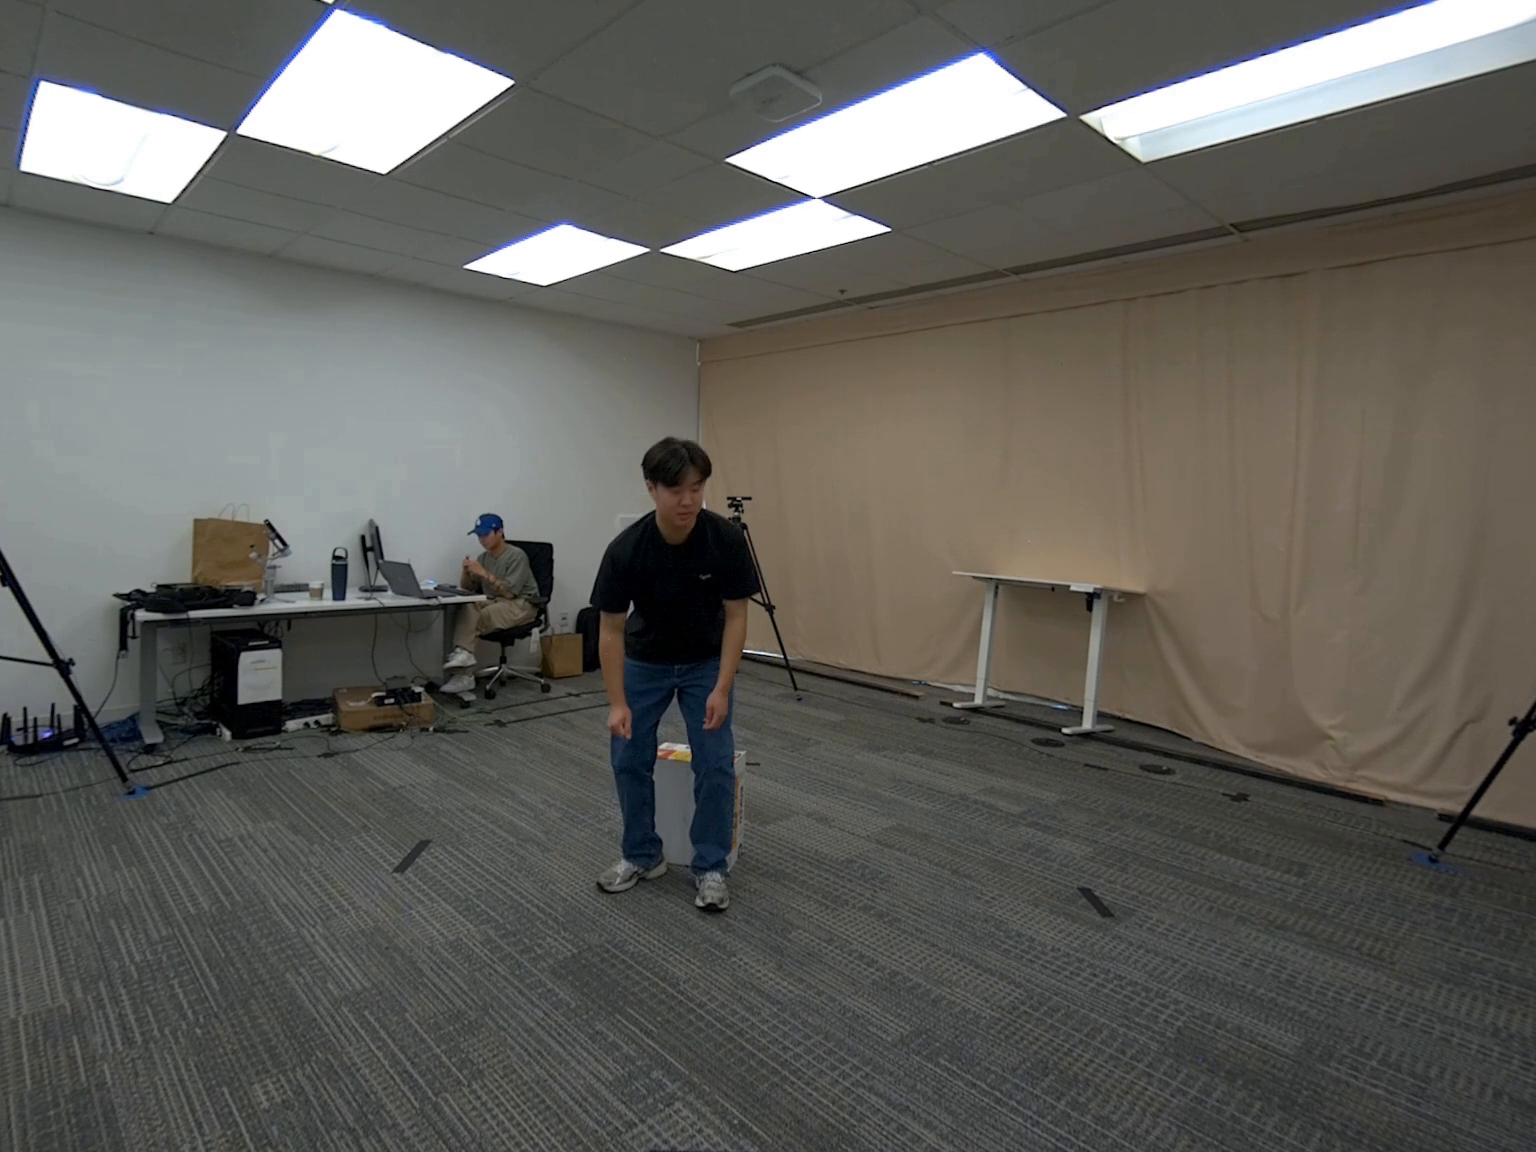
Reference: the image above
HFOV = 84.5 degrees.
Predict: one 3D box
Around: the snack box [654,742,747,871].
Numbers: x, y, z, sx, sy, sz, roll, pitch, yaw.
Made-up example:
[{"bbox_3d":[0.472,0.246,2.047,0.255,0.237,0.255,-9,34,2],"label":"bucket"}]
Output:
[{"bbox_3d":[-0.283,0.889,3.259,0.345,0.404,0.203,3,3,16],"label":"snack box"}]
